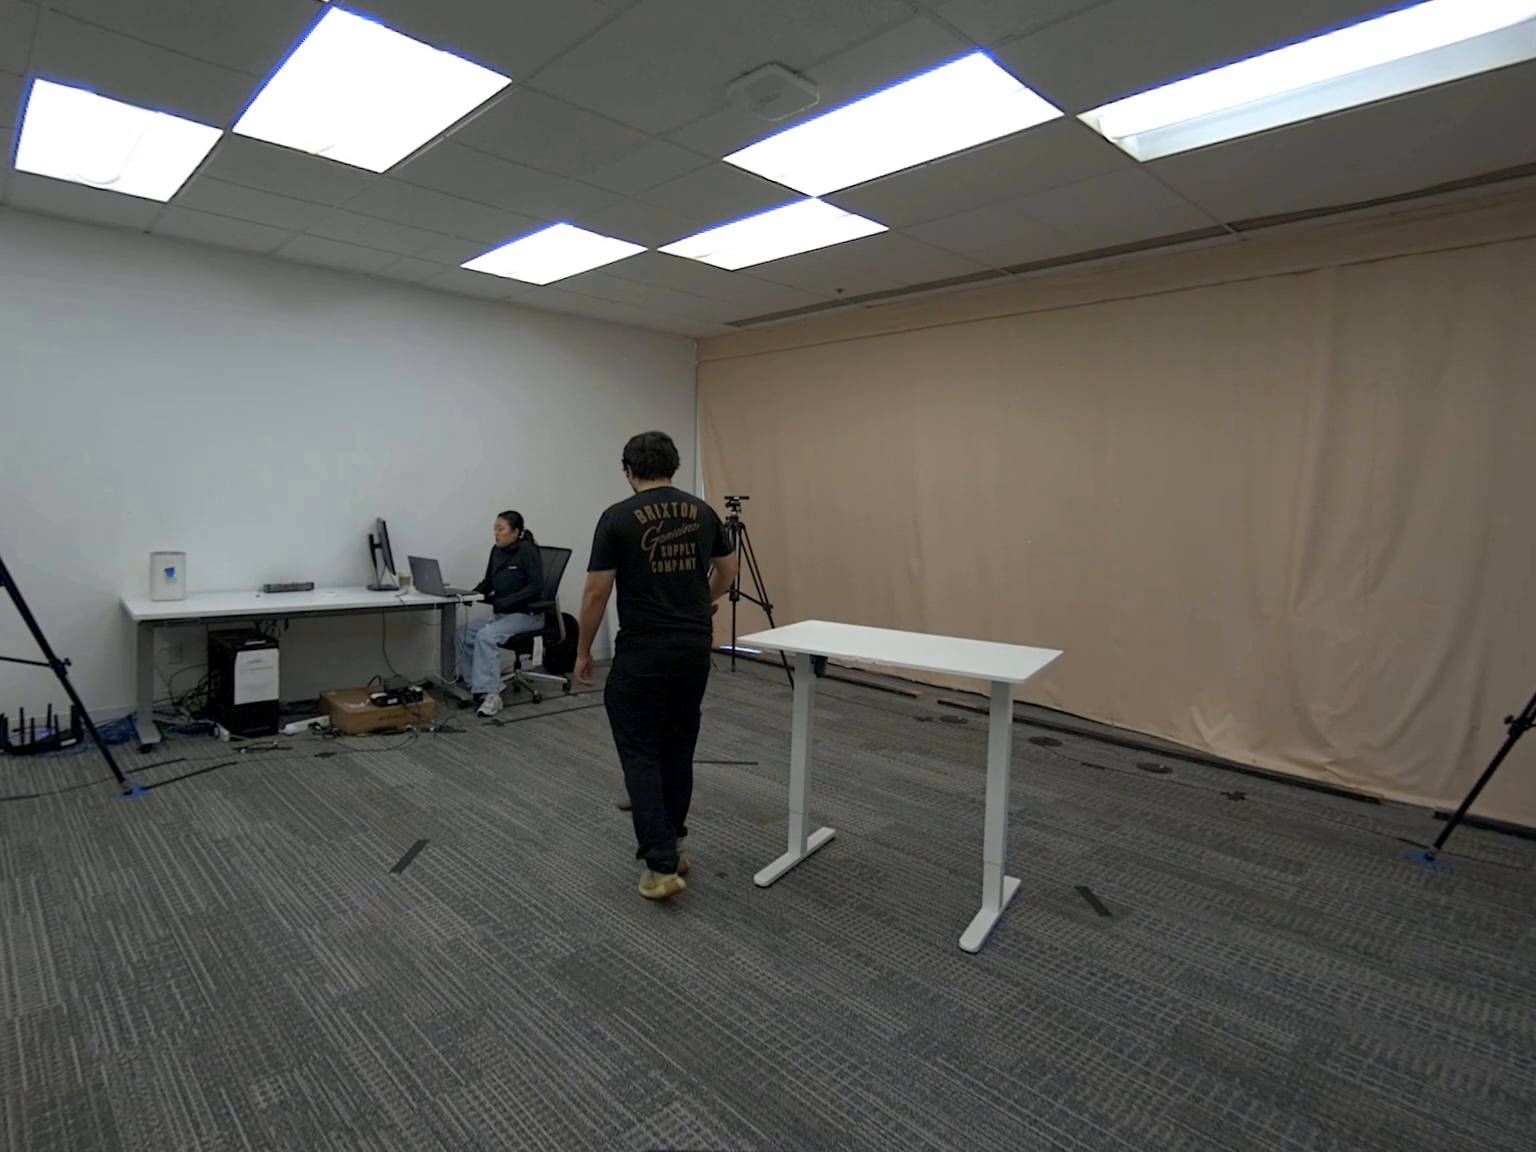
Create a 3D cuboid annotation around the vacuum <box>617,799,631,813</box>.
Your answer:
[{"bbox_3d":[-0.389,0.586,3.586,0.247,1.040,0.149,1,28,-39],"label":"vacuum"}]
